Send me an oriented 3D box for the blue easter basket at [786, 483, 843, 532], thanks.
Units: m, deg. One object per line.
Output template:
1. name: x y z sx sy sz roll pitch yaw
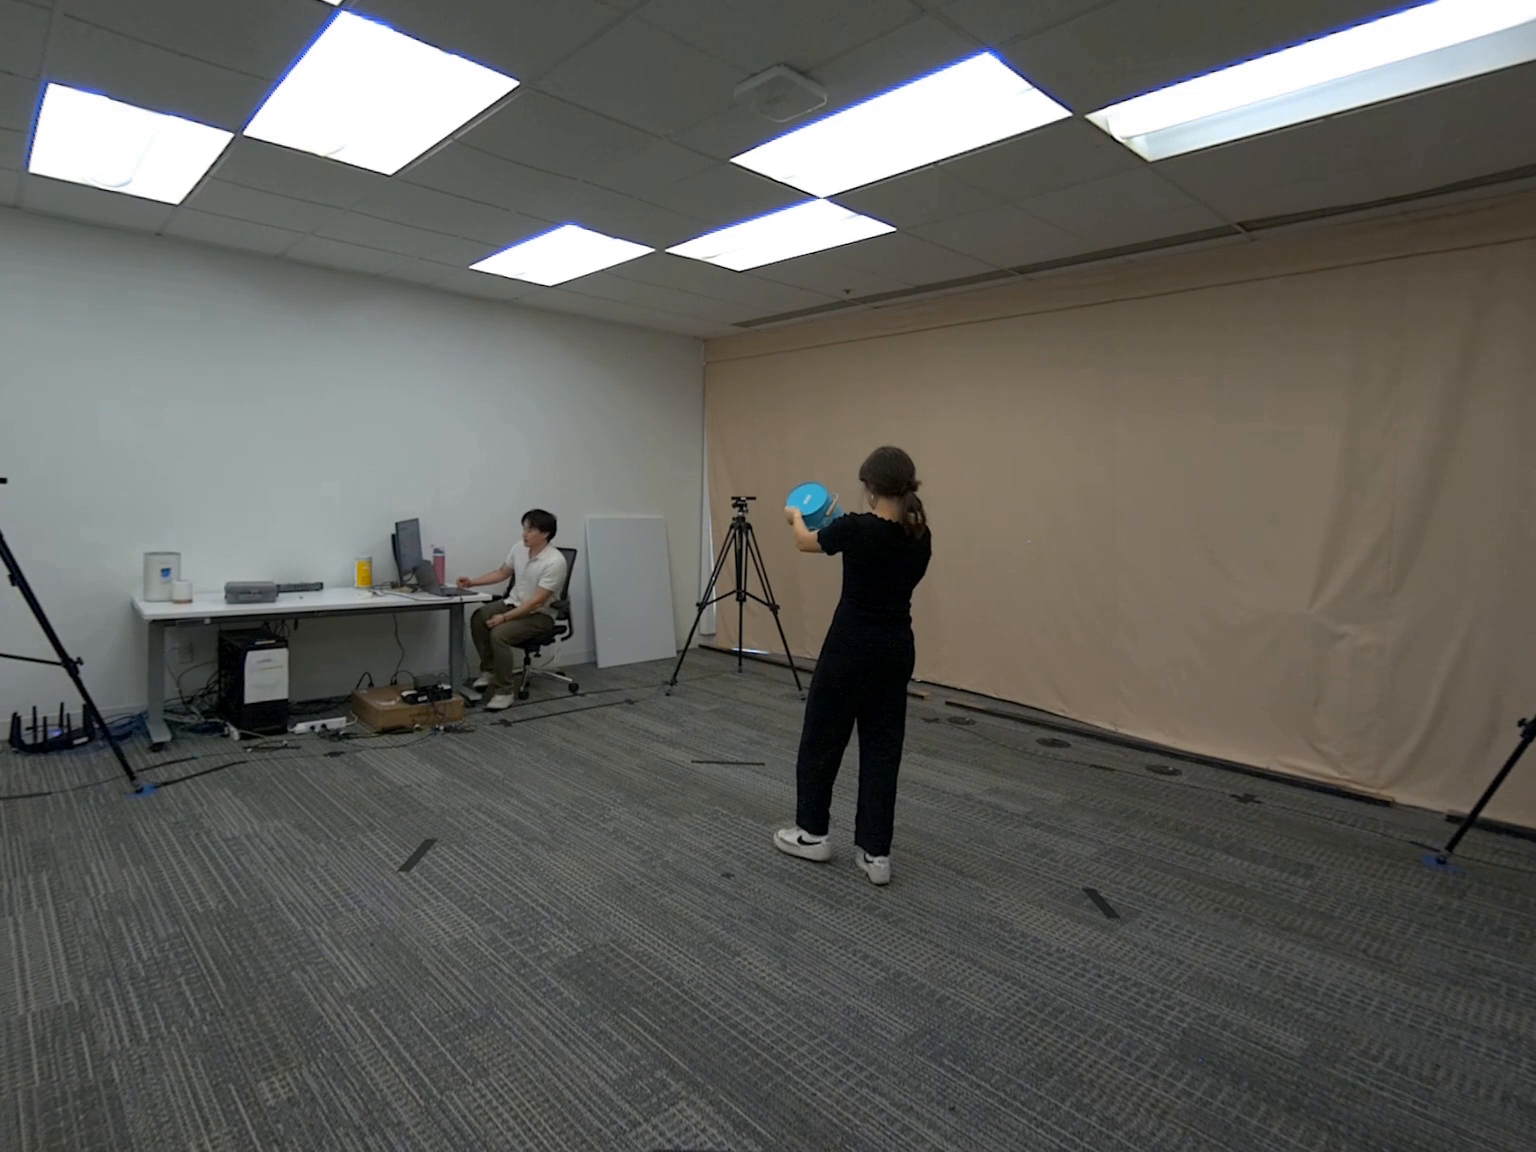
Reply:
1. blue easter basket: 0.191 -0.290 3.631 0.248 0.246 0.151 3 -33 27
